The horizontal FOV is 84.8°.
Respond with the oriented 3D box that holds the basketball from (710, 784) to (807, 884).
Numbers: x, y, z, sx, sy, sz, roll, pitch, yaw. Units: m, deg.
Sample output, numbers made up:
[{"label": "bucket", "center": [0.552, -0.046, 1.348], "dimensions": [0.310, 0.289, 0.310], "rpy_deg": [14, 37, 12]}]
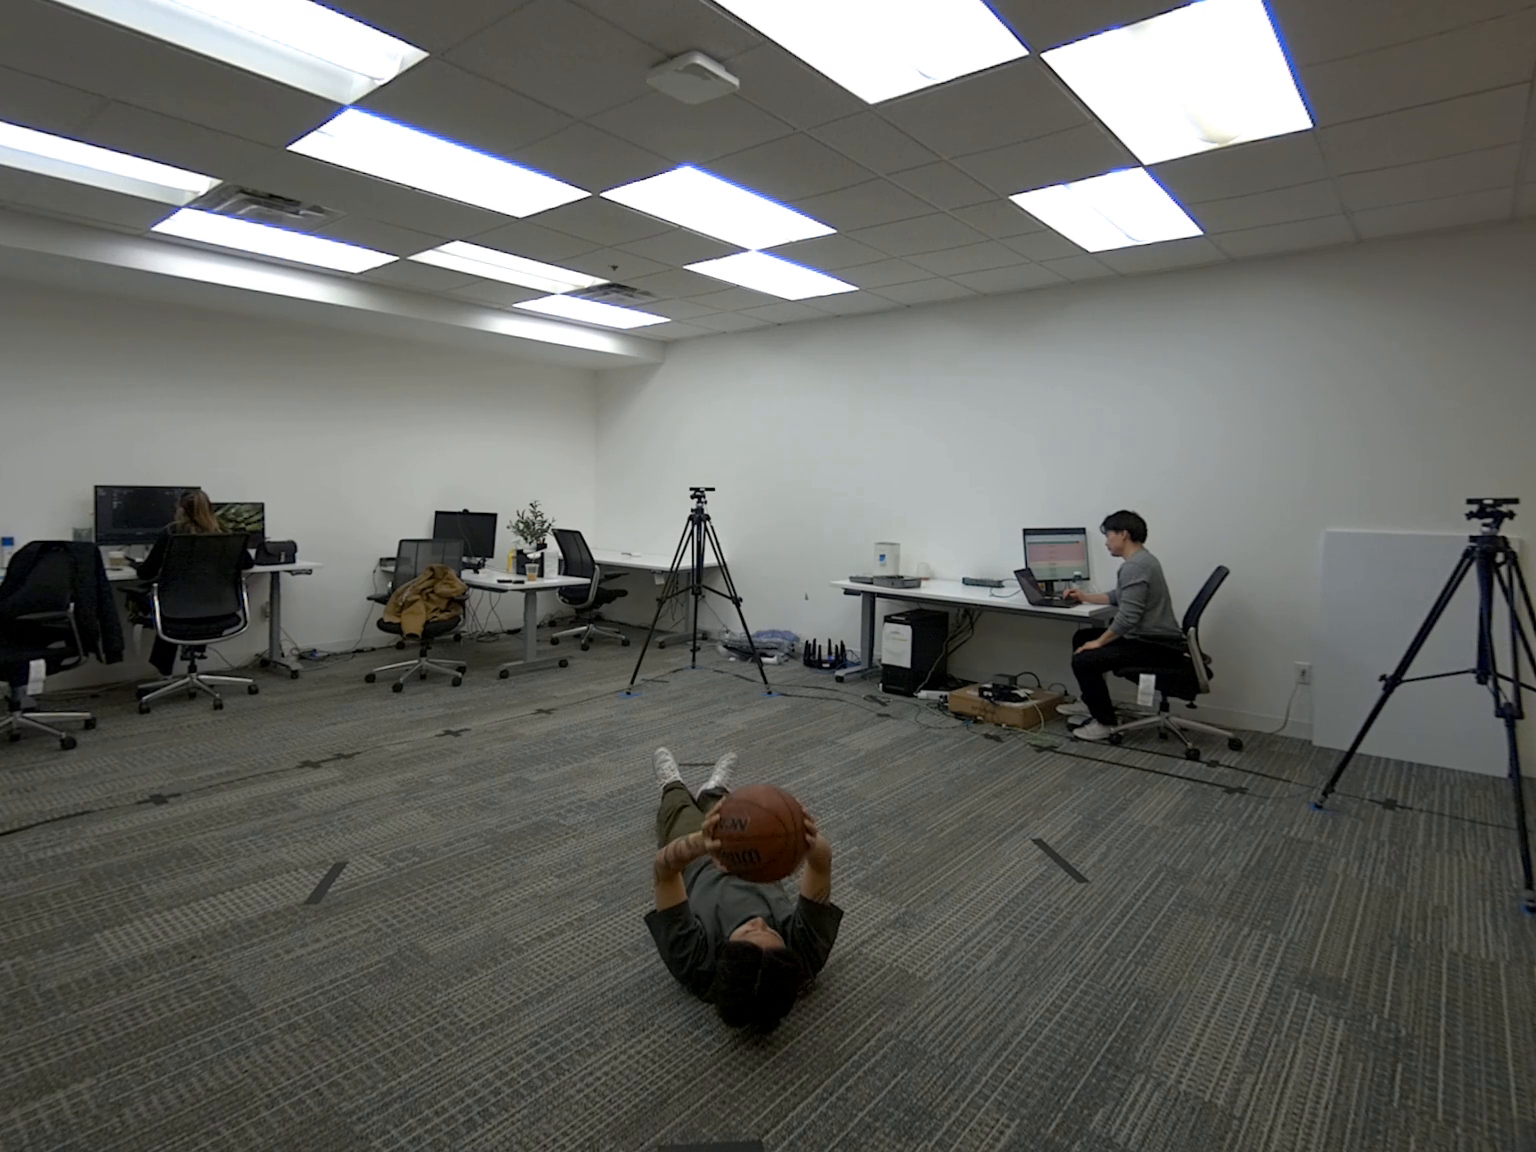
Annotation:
[{"label": "basketball", "center": [-0.032, 0.642, 2.143], "dimensions": [0.235, 0.235, 0.237], "rpy_deg": [1, 4, -2]}]
